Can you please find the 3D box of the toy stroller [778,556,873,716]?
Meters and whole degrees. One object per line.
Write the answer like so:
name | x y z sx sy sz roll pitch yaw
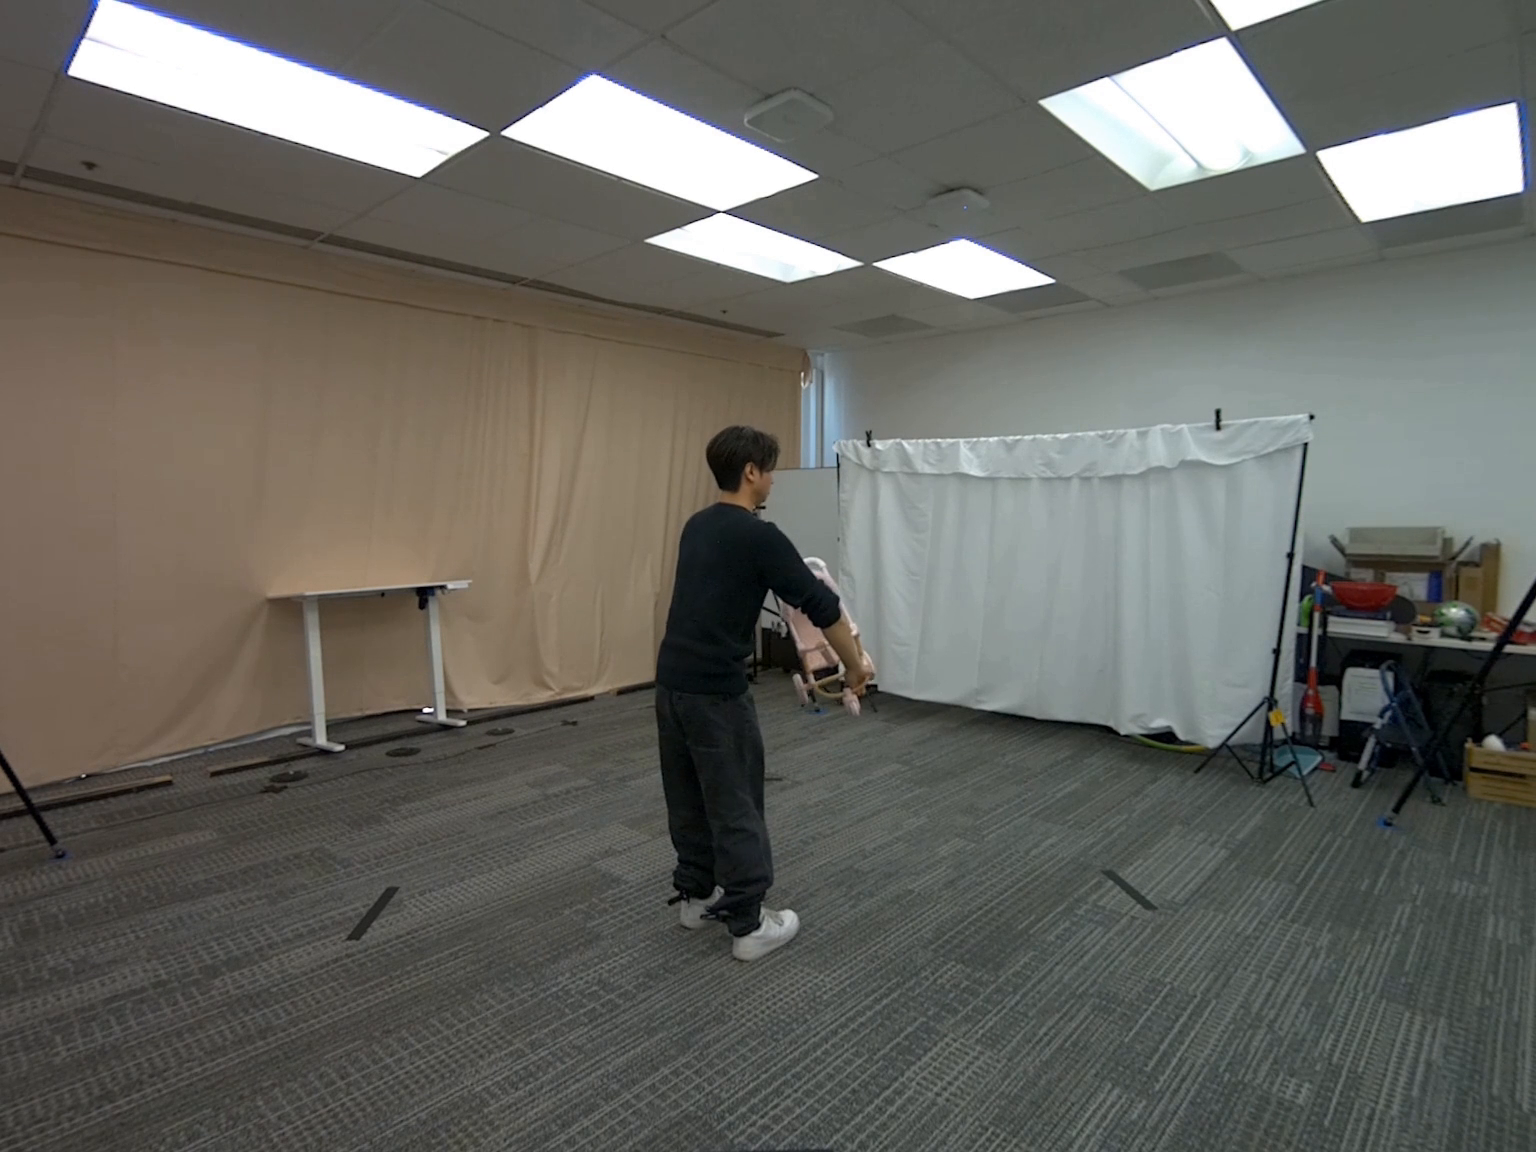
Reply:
toy stroller | 0.188 0.206 2.873 0.282 0.537 0.339 -19 -3 2
